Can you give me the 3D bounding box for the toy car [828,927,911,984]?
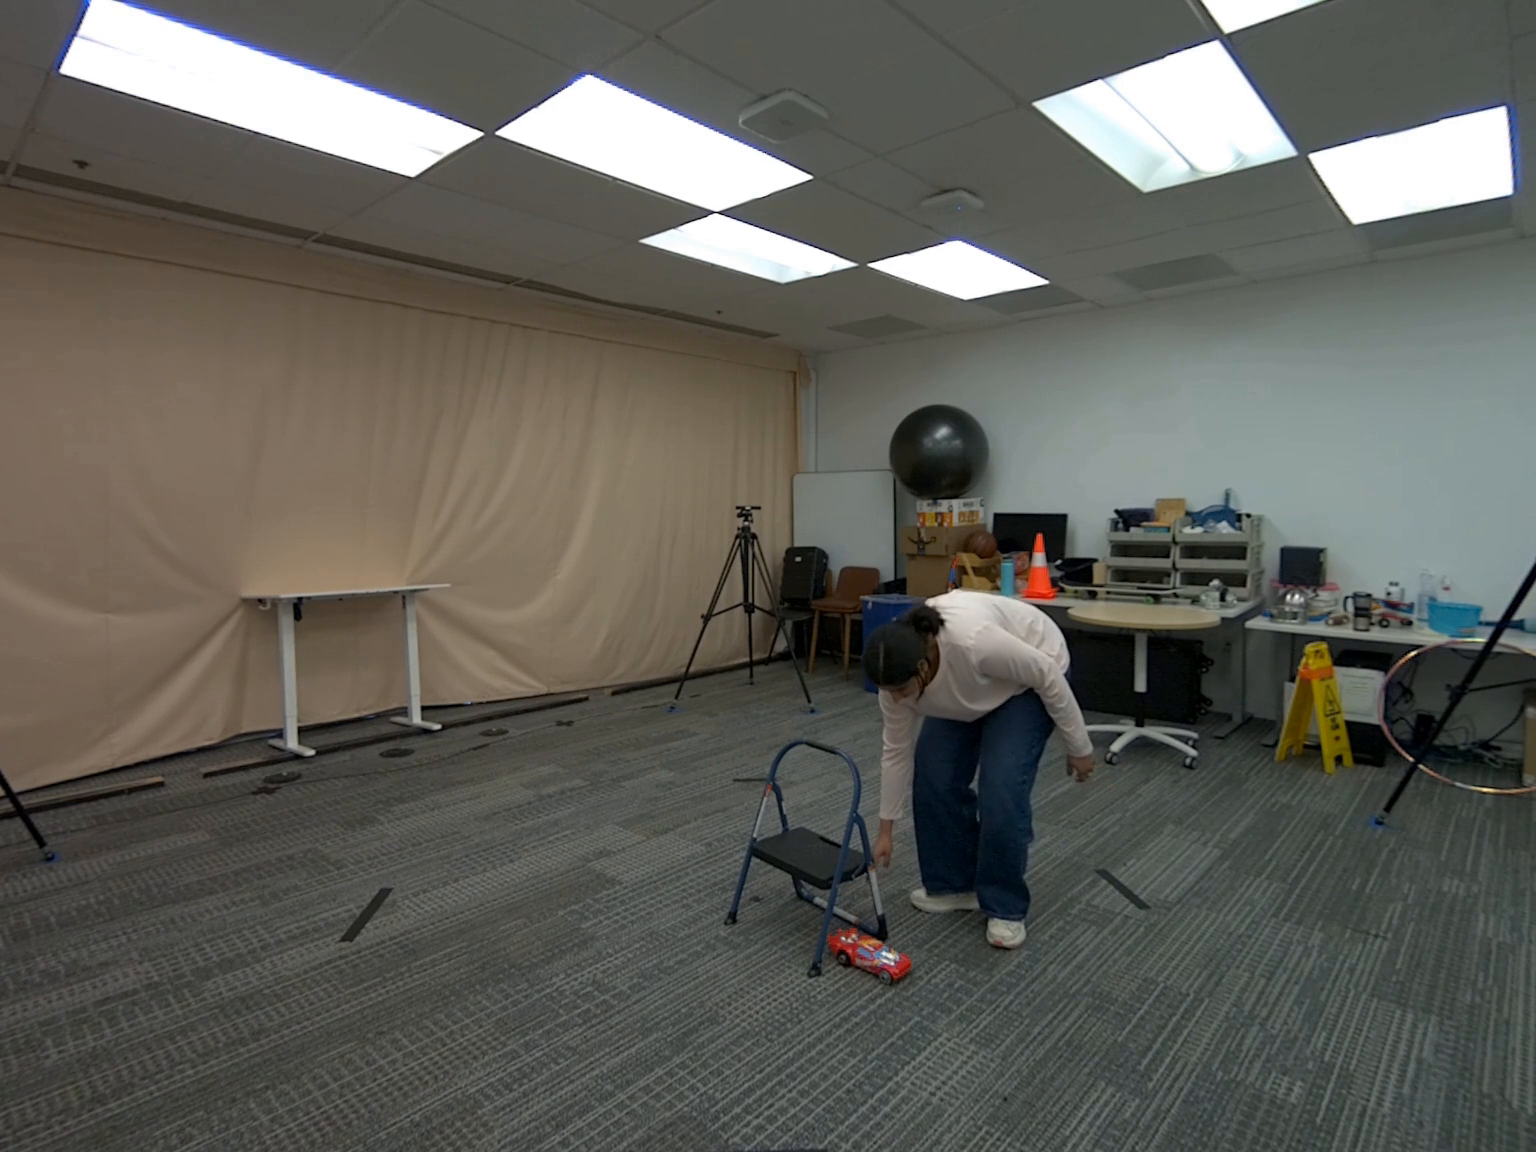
[{"bbox_3d":[0.311,1.150,2.548,0.264,0.083,0.126,18,16,40],"label":"toy car"}]
